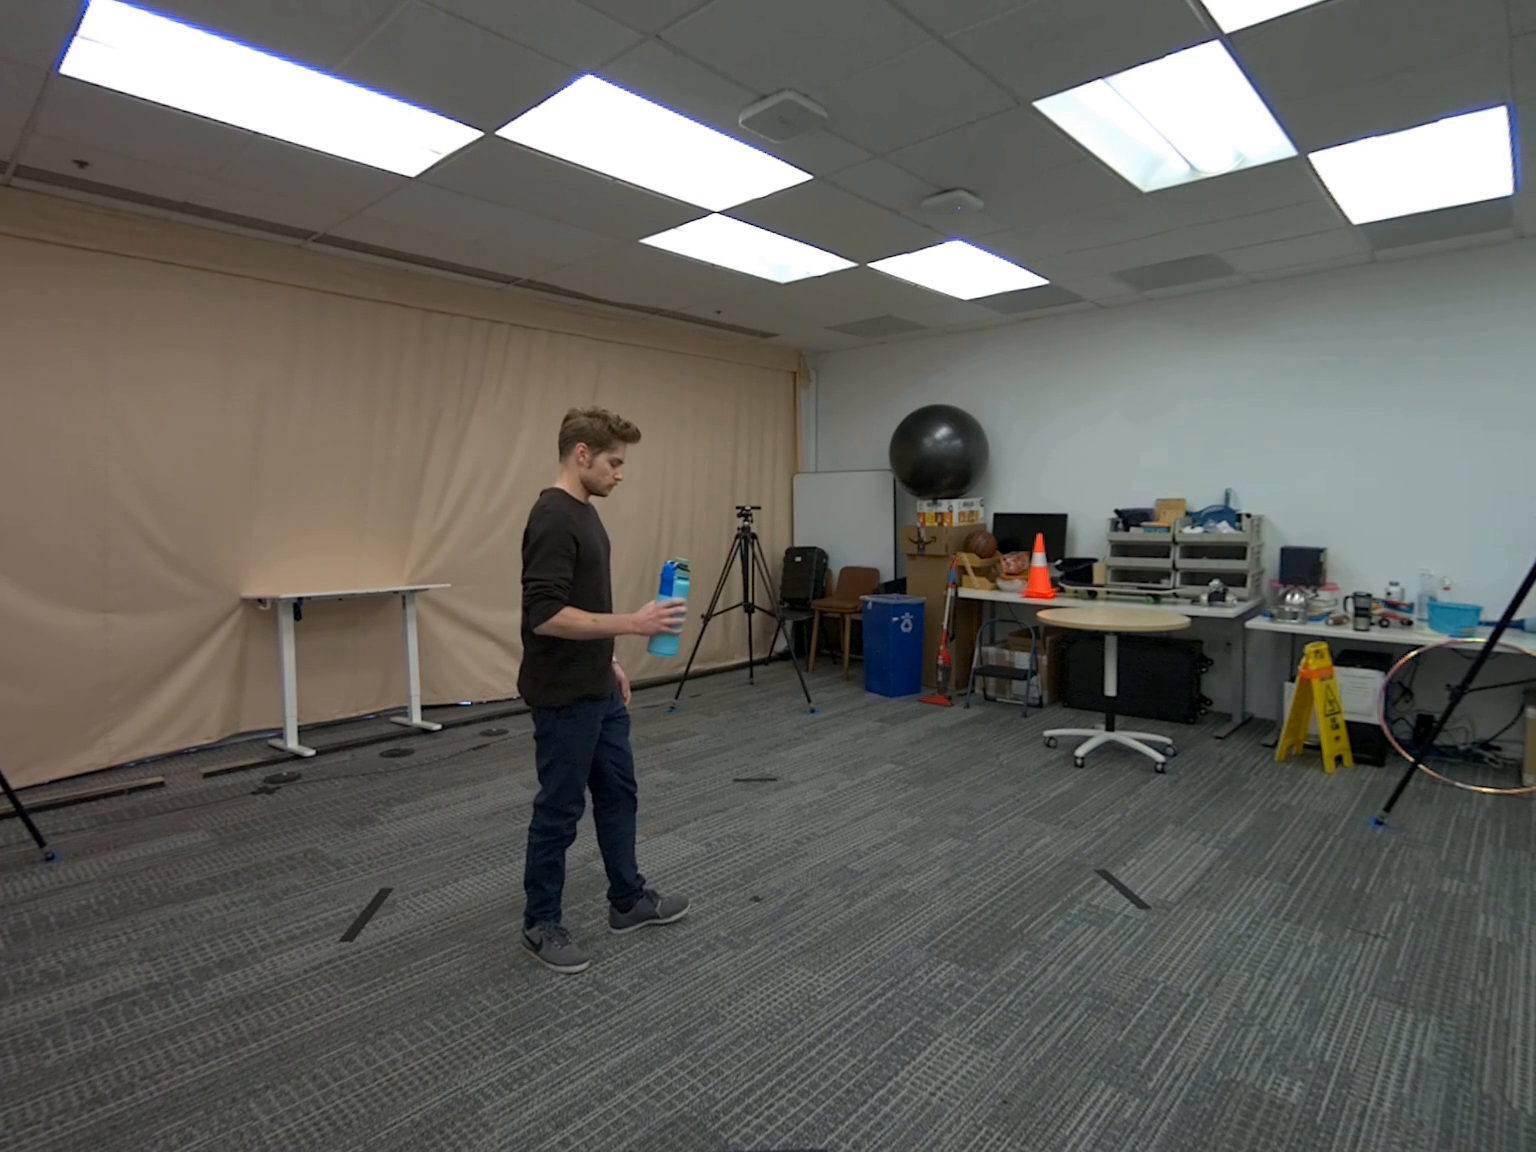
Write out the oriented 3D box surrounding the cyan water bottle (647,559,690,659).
[{"bbox_3d":[-0.287,0.088,2.430,0.092,0.283,0.093,9,4,-3],"label":"cyan water bottle"}]
